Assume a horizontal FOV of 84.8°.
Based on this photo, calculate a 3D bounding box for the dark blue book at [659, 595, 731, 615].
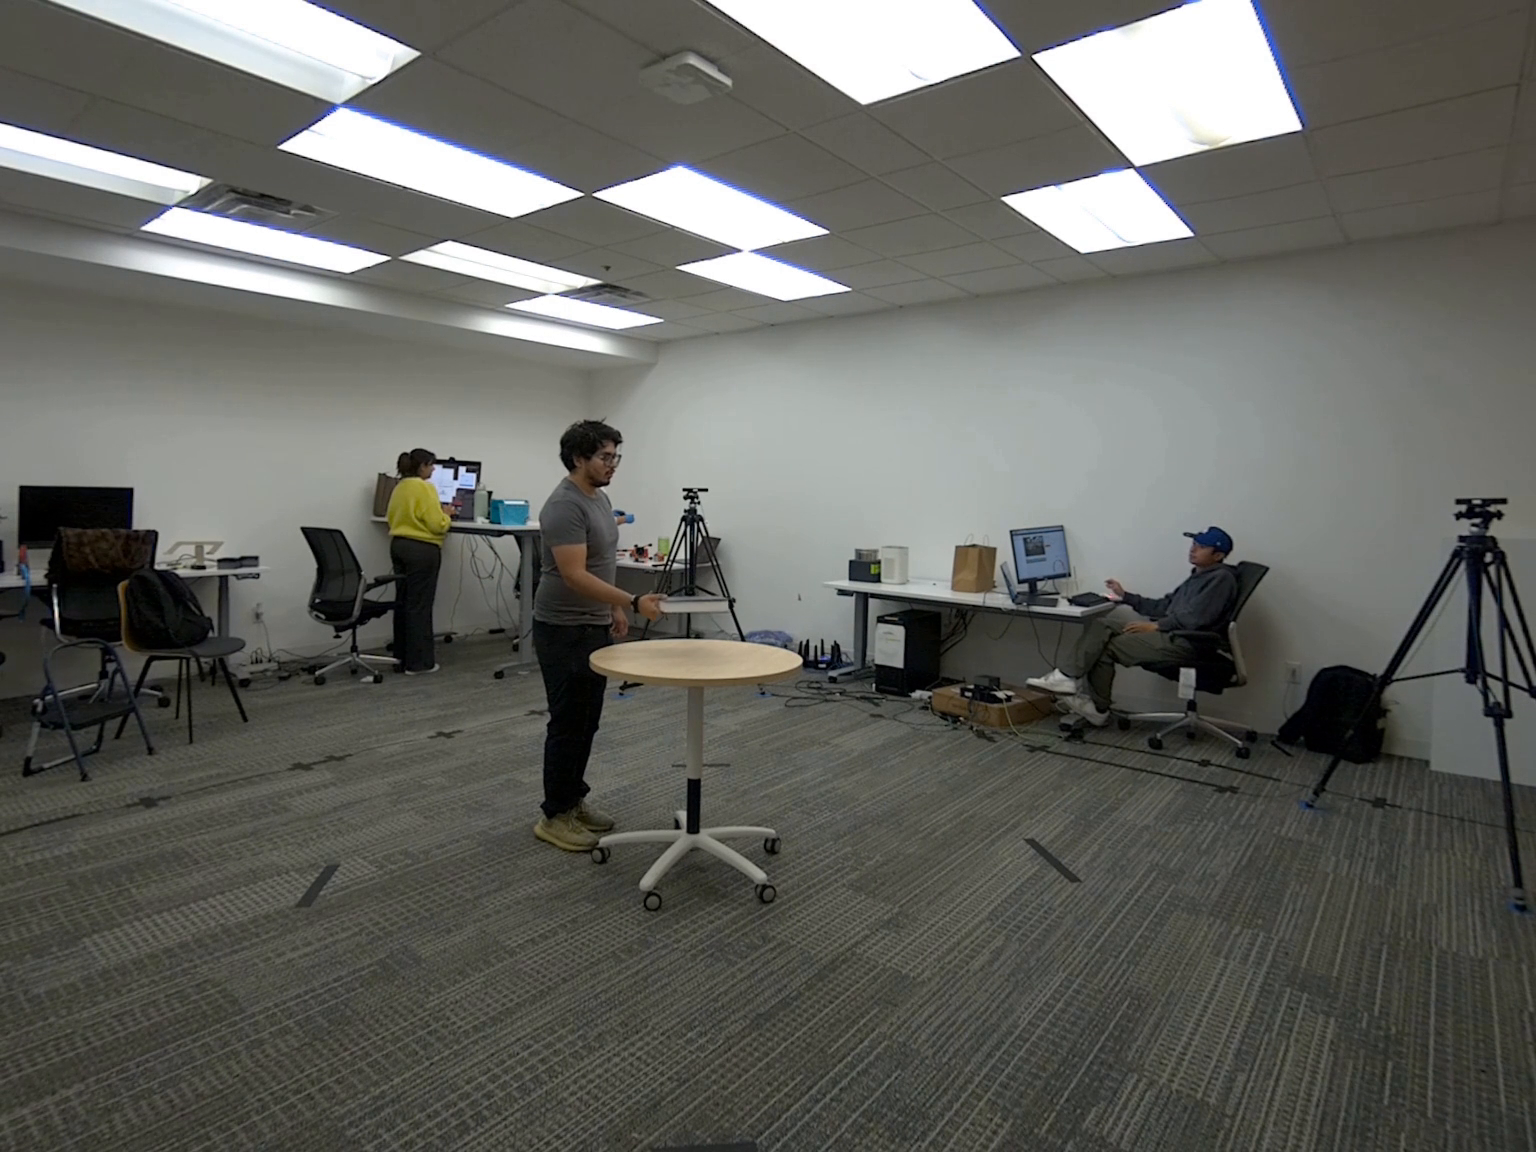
[{"bbox_3d":[-0.299,0.102,3.098,0.241,0.045,0.166,0,4,-14],"label":"dark blue book"}]
